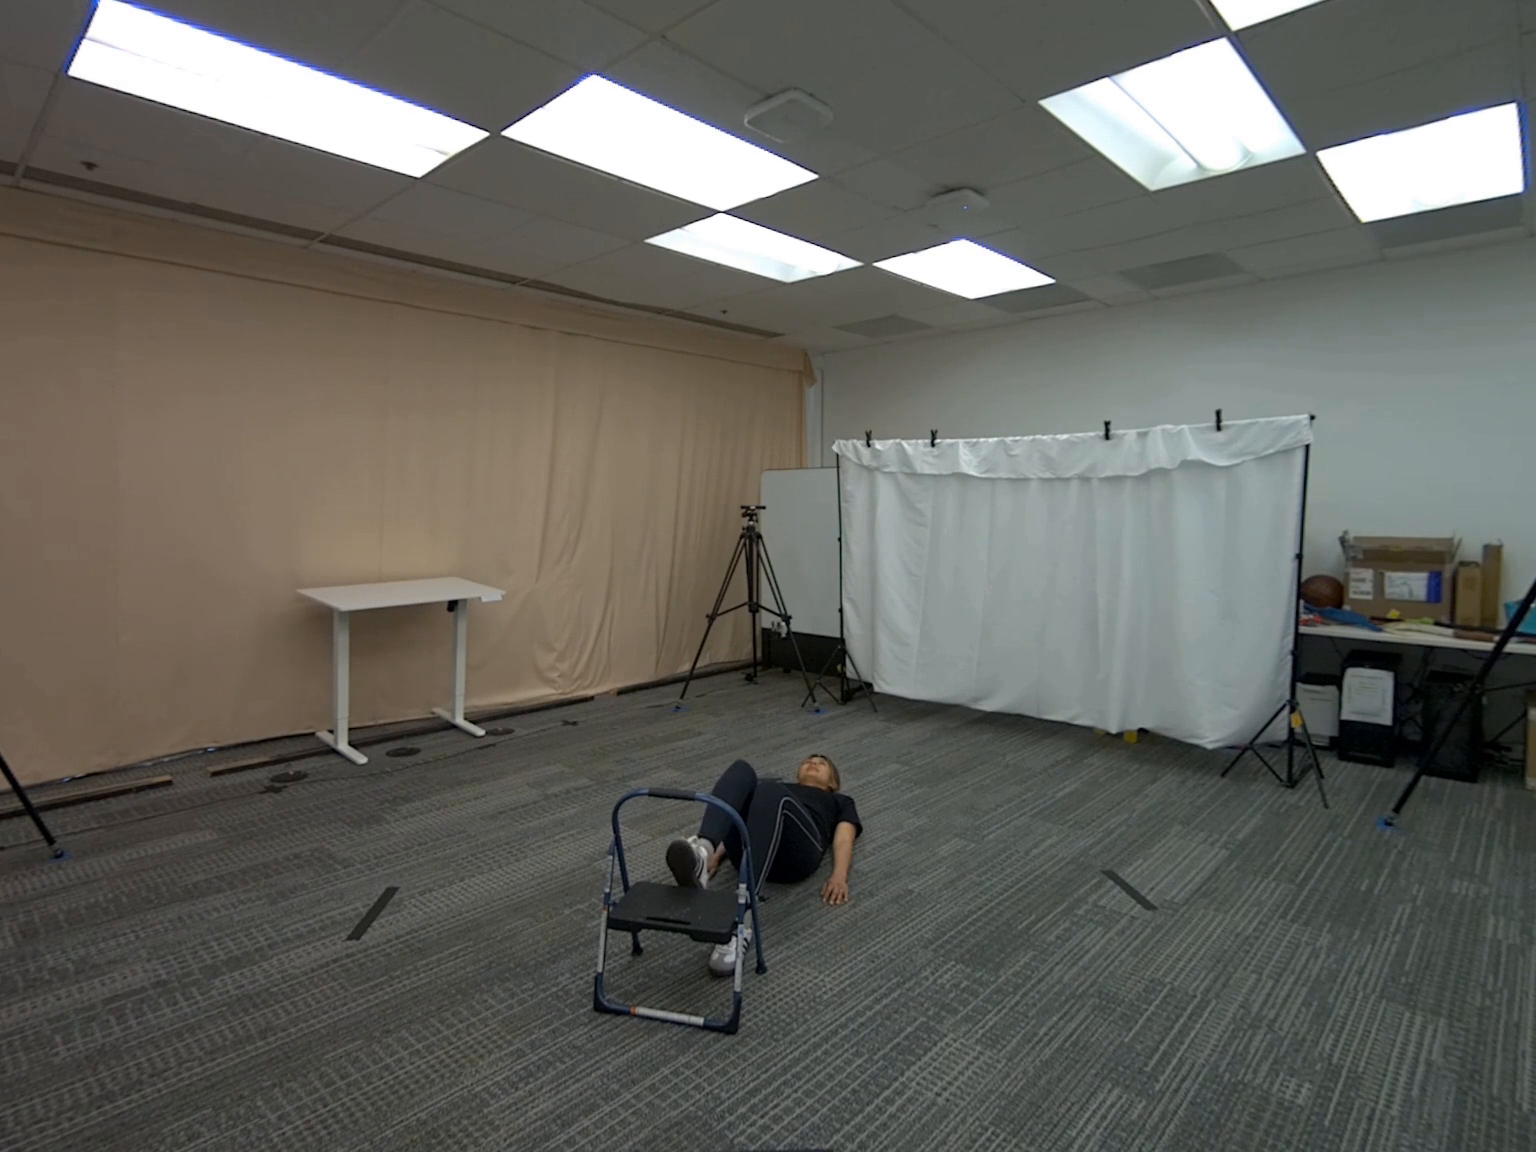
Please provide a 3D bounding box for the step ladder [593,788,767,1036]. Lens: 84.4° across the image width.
[{"bbox_3d":[-0.250,0.889,2.412,0.437,0.605,0.344,1,3,14],"label":"step ladder"}]
